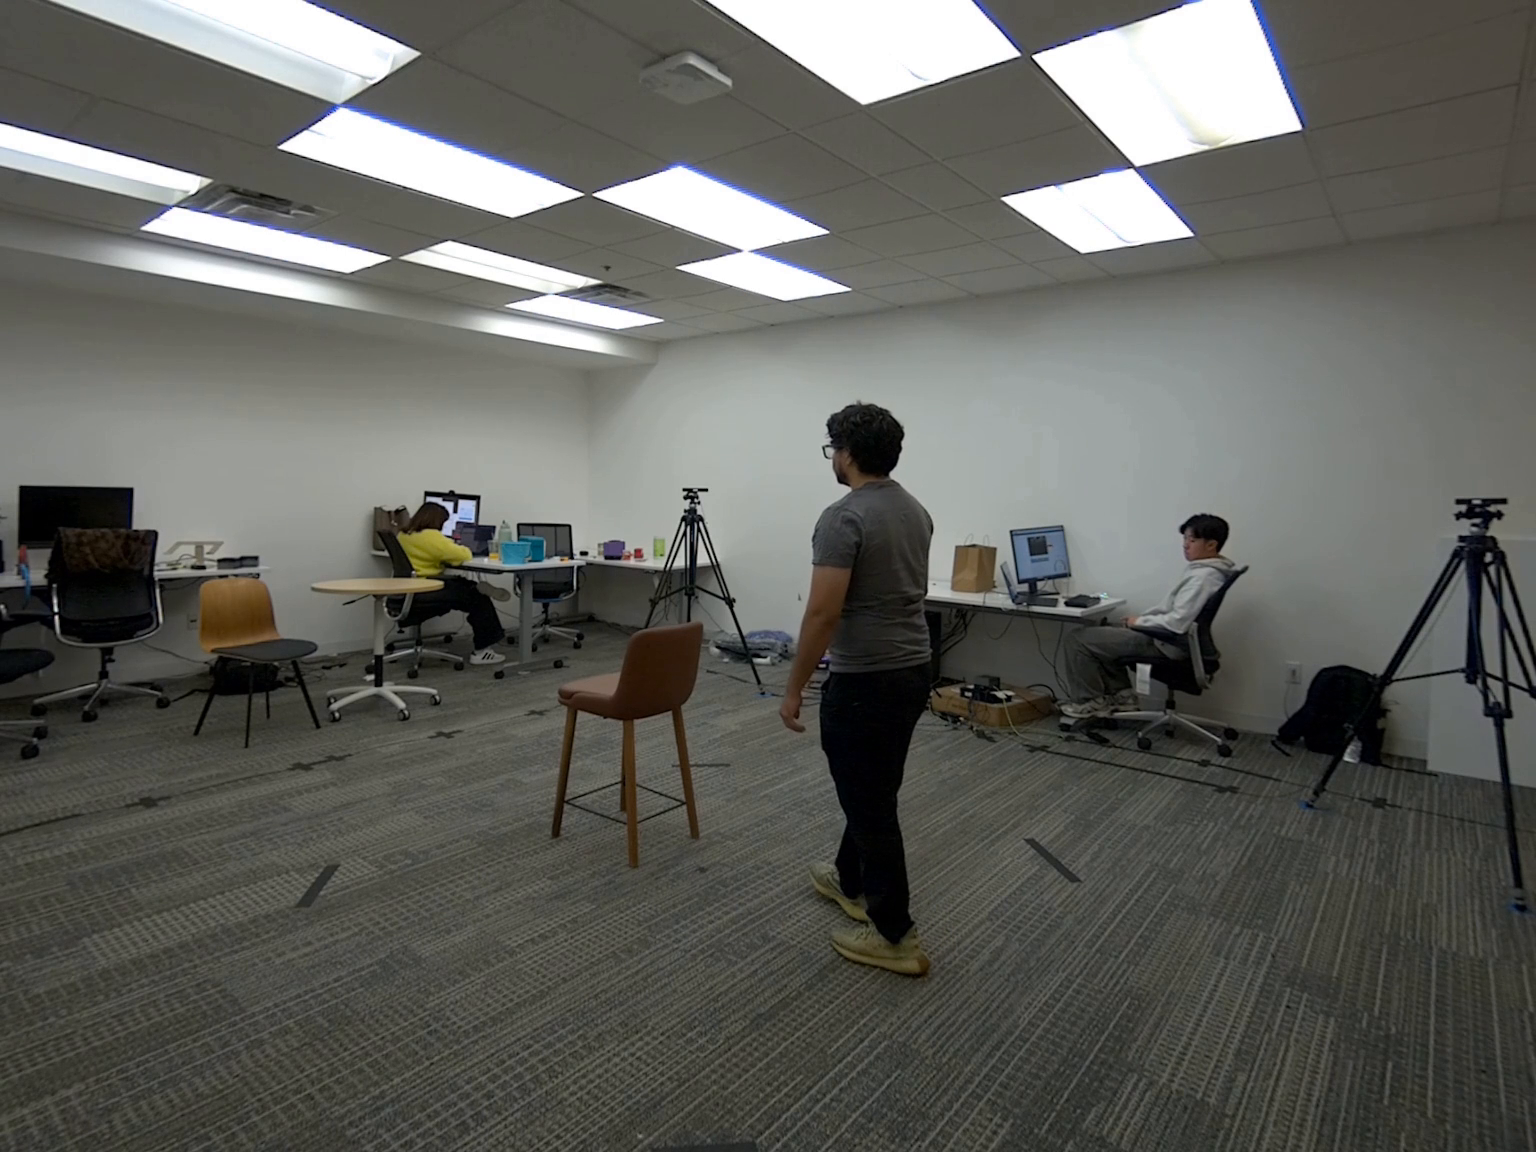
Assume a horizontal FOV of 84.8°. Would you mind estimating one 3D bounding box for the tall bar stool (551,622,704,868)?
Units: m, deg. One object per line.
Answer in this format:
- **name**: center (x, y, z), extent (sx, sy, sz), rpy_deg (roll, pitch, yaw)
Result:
- **tall bar stool**: center (-0.560, 0.603, 3.370), extent (0.483, 0.887, 0.443), rpy_deg (6, 5, 38)
